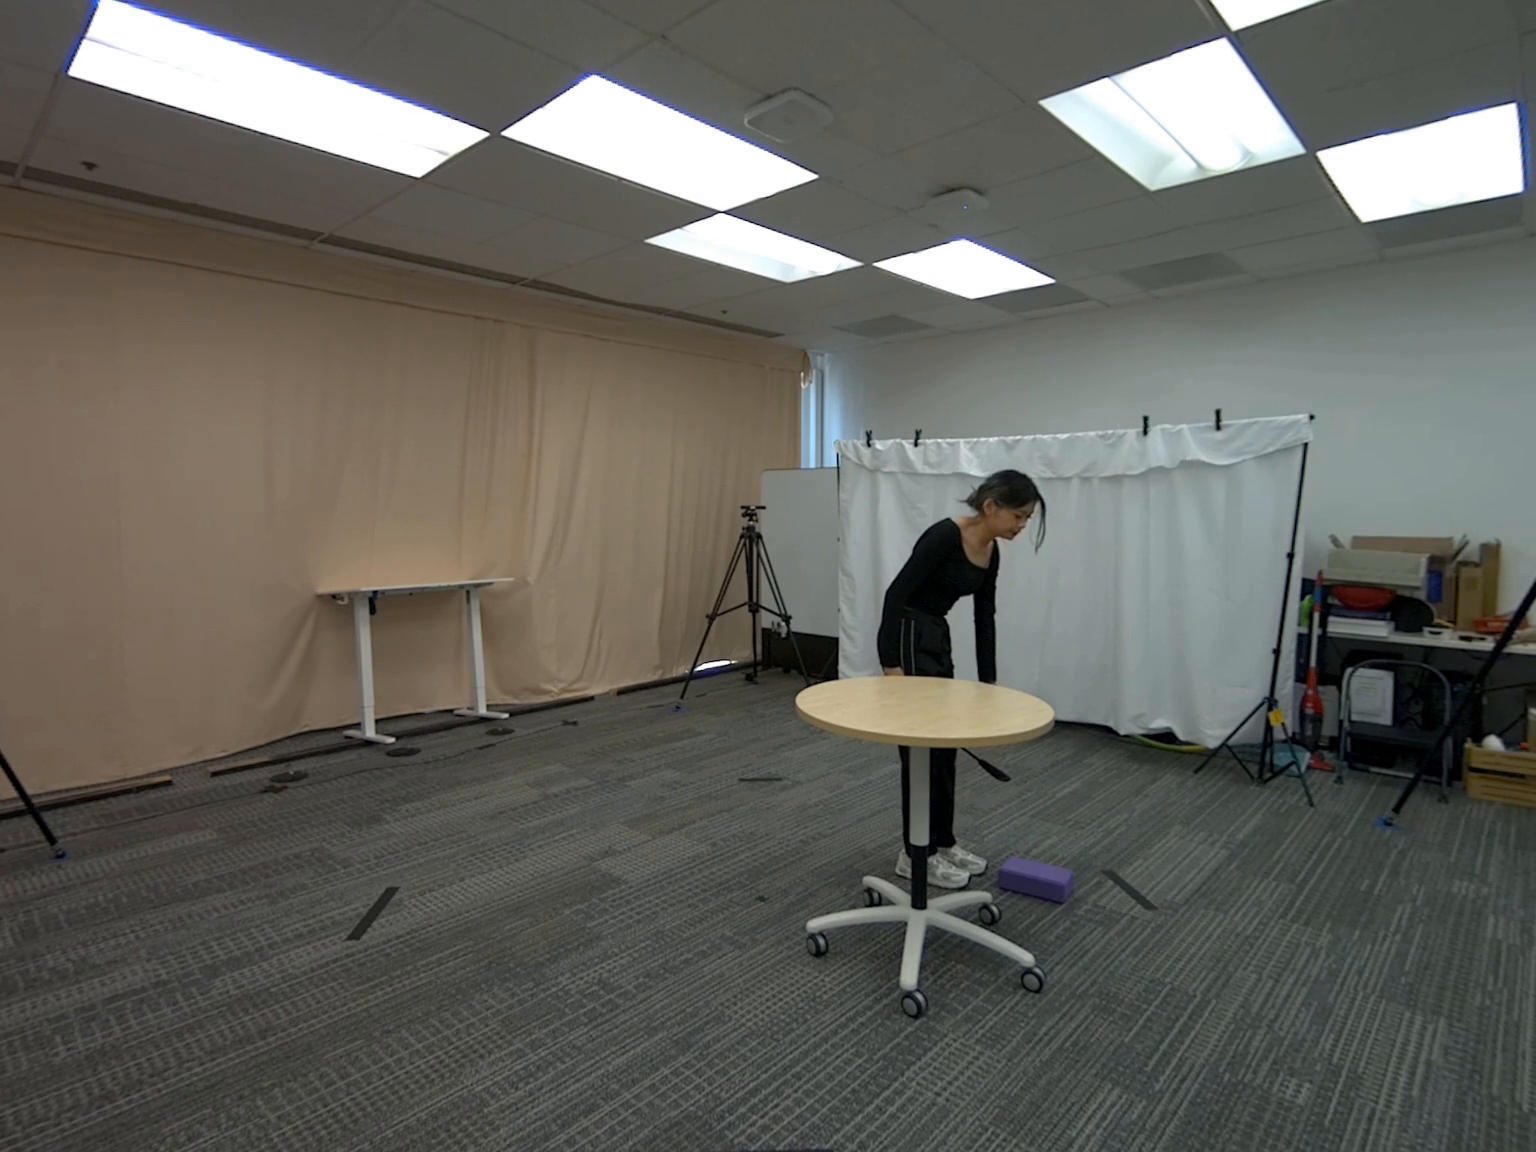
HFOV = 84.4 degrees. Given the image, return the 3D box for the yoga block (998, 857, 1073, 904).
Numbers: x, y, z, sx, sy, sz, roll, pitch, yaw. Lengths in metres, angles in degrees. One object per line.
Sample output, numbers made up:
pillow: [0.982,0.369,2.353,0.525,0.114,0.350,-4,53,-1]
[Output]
yoga block: [0.979,1.100,3.041,0.236,0.076,0.145,3,5,34]
